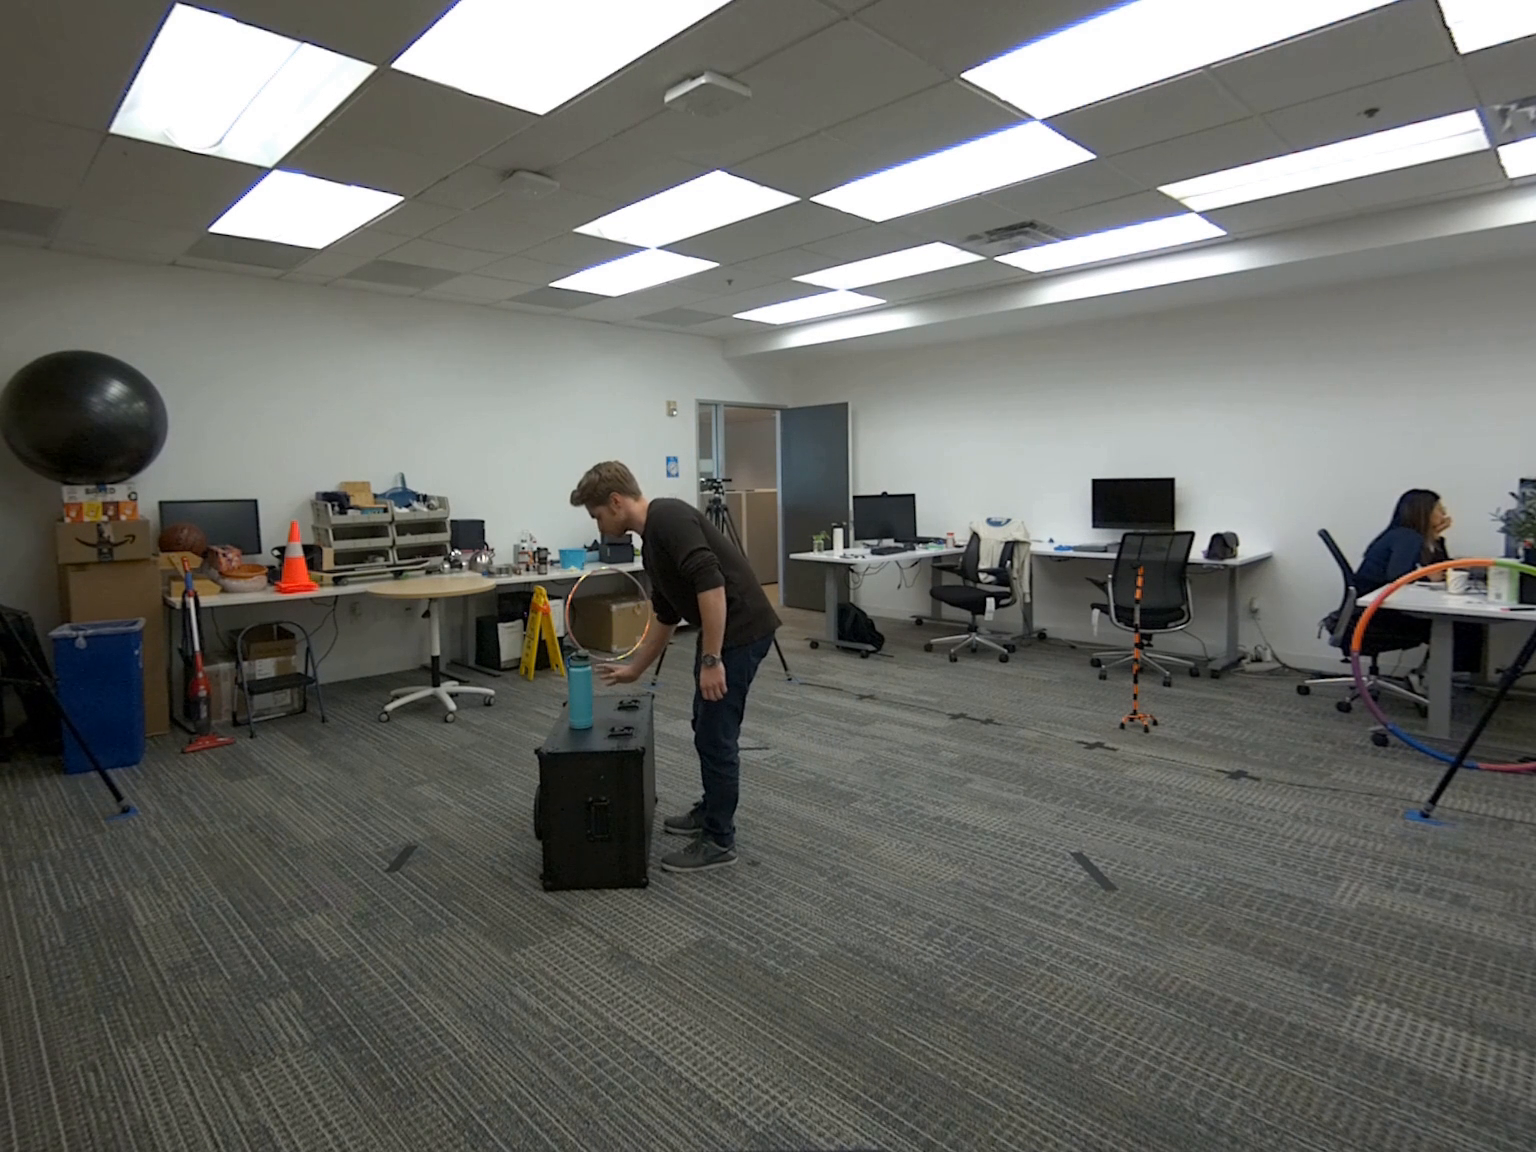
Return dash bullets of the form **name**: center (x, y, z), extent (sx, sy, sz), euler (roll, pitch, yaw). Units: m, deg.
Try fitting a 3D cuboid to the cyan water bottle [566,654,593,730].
- **cyan water bottle**: center (-0.703, 0.419, 3.209), extent (0.092, 0.282, 0.093), euler (-2, 4, -1)
